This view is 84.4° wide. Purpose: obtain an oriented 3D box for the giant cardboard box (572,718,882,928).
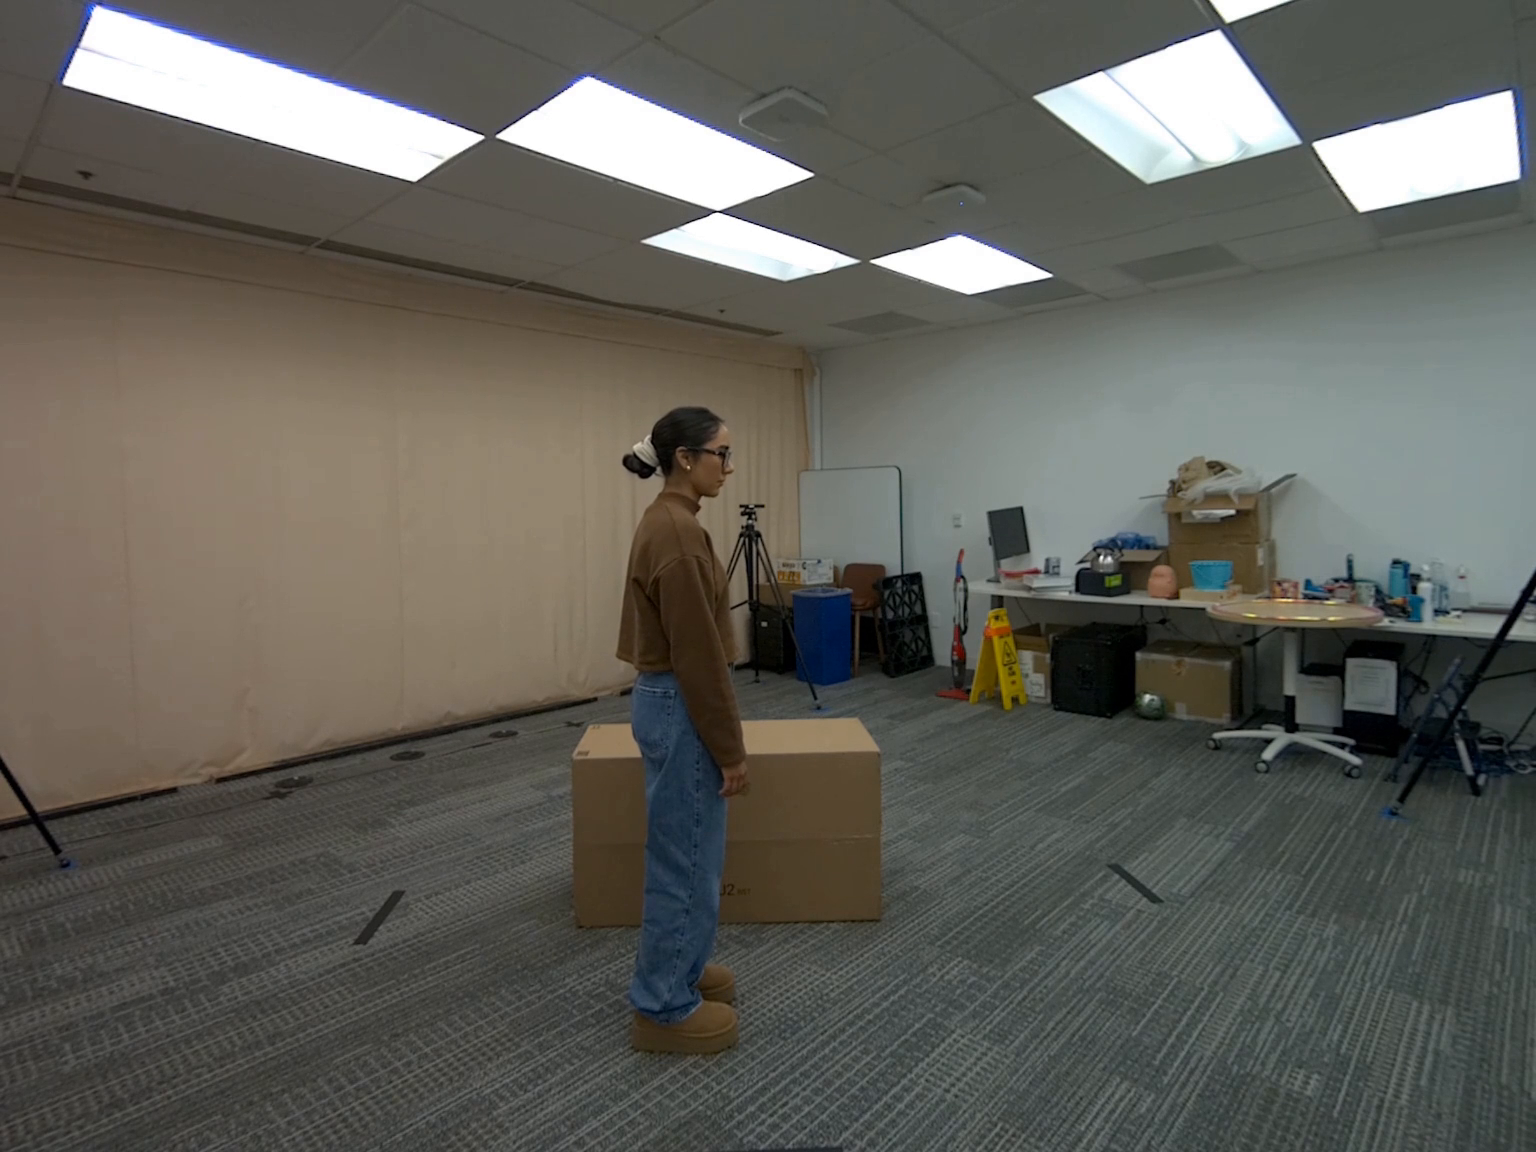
[{"bbox_3d":[-0.149,0.855,2.992,1.027,0.582,0.448,-1,5,0],"label":"giant cardboard box"}]
